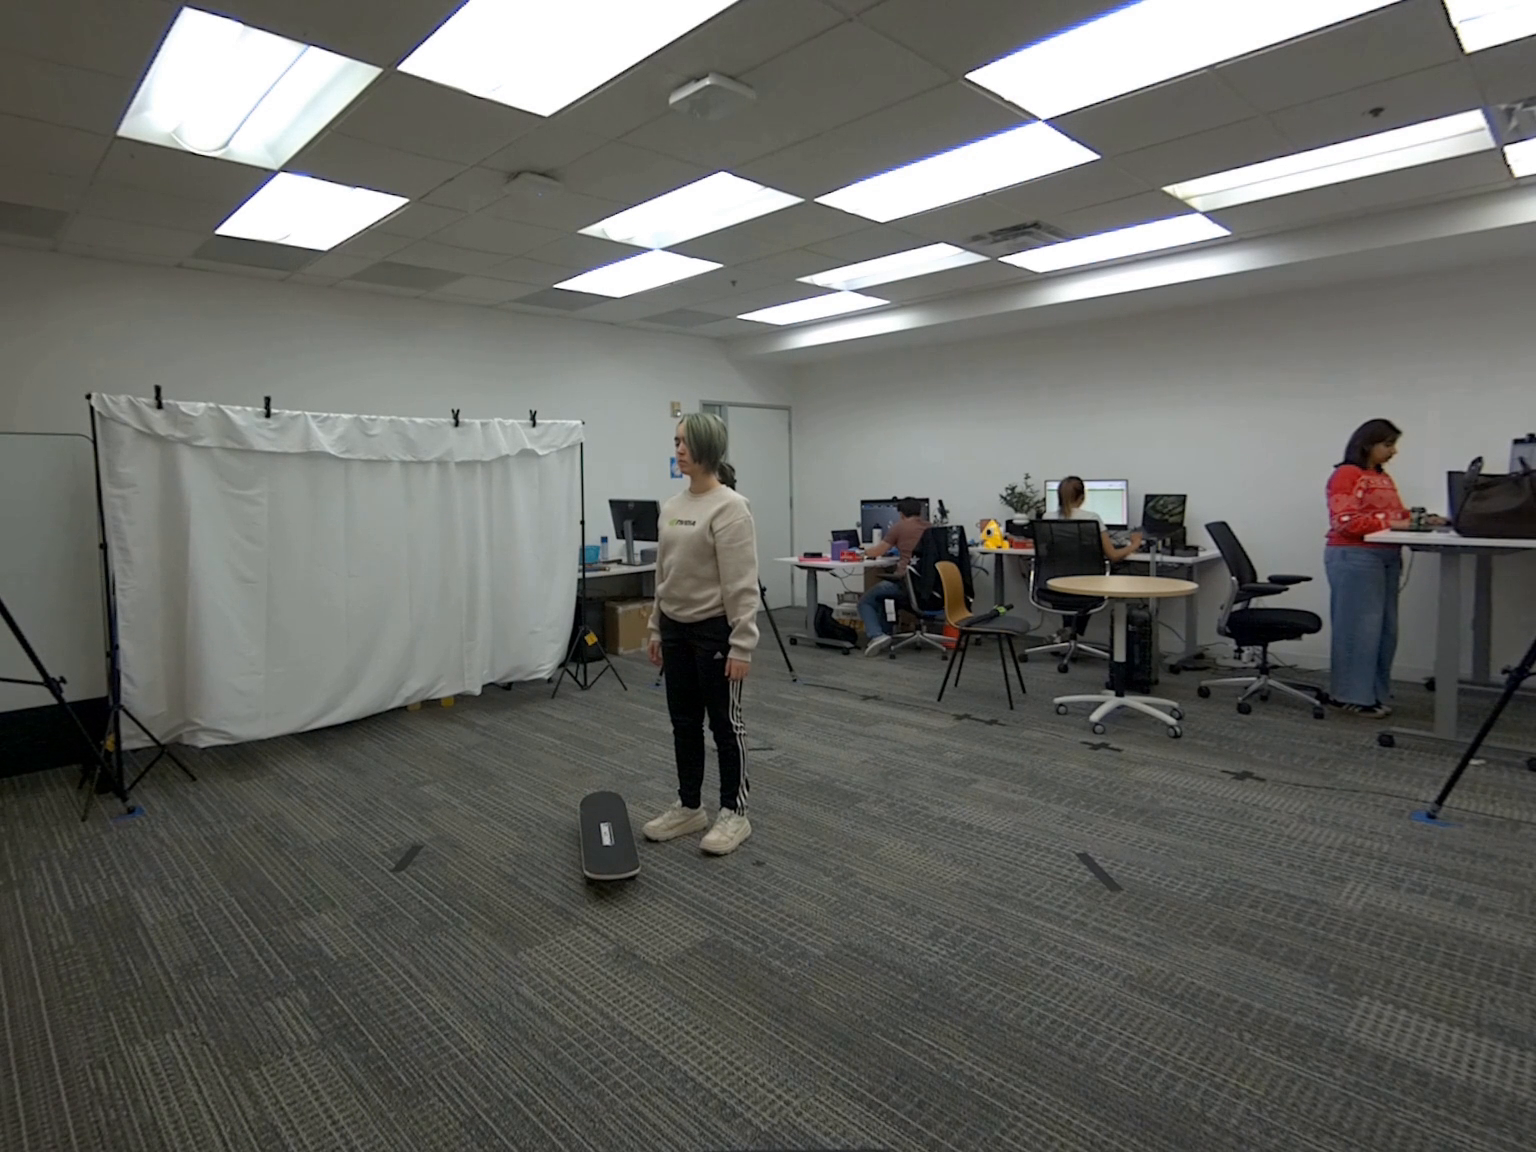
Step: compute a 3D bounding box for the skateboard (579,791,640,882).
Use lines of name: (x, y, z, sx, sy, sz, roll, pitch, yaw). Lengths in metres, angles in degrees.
skateboard: (-0.602, 0.992, 3.179, 0.191, 0.110, 0.798, -3, 7, -14)
